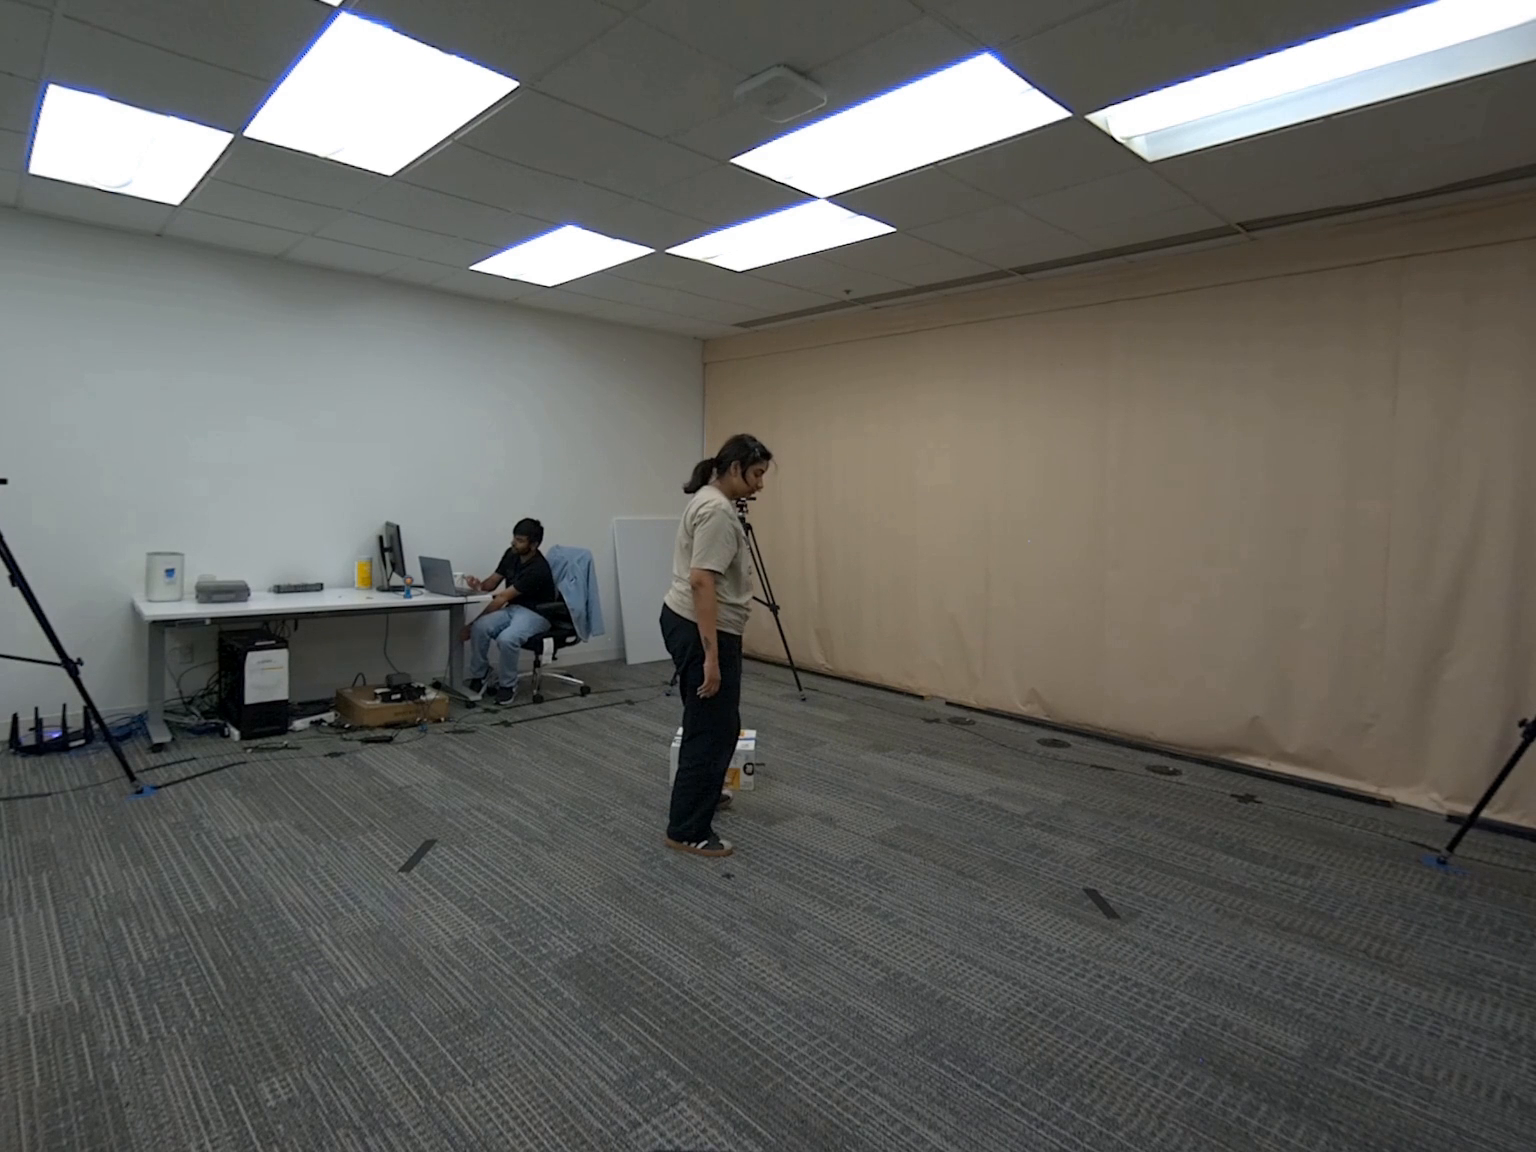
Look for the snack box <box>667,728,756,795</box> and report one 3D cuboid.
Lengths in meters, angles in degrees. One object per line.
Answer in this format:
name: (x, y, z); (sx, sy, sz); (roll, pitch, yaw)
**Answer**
snack box: (-0.275, 0.914, 4.208); (0.406, 0.205, 0.340); (2, 4, 2)
